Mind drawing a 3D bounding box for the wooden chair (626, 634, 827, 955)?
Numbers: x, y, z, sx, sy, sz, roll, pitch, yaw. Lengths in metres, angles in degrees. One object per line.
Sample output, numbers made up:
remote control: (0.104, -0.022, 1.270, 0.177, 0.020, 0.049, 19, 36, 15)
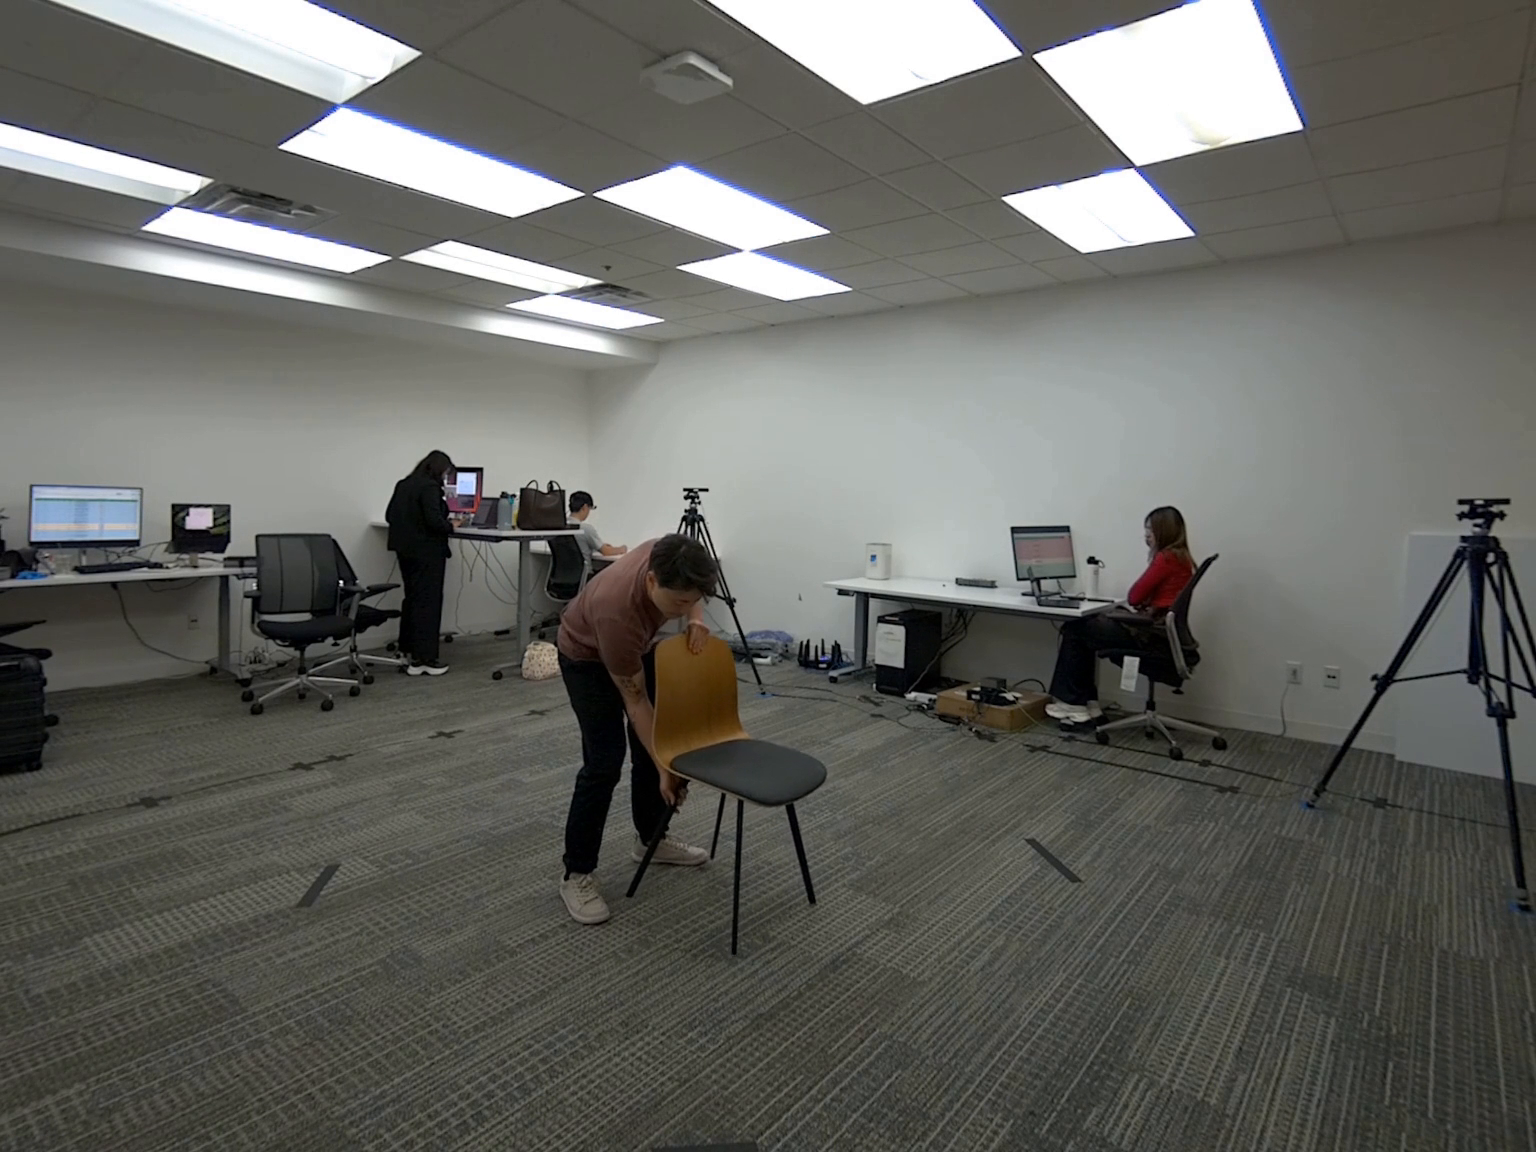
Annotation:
wooden chair: (-0.106, 0.657, 2.791, 0.540, 0.876, 0.463, 3, 2, 36)
